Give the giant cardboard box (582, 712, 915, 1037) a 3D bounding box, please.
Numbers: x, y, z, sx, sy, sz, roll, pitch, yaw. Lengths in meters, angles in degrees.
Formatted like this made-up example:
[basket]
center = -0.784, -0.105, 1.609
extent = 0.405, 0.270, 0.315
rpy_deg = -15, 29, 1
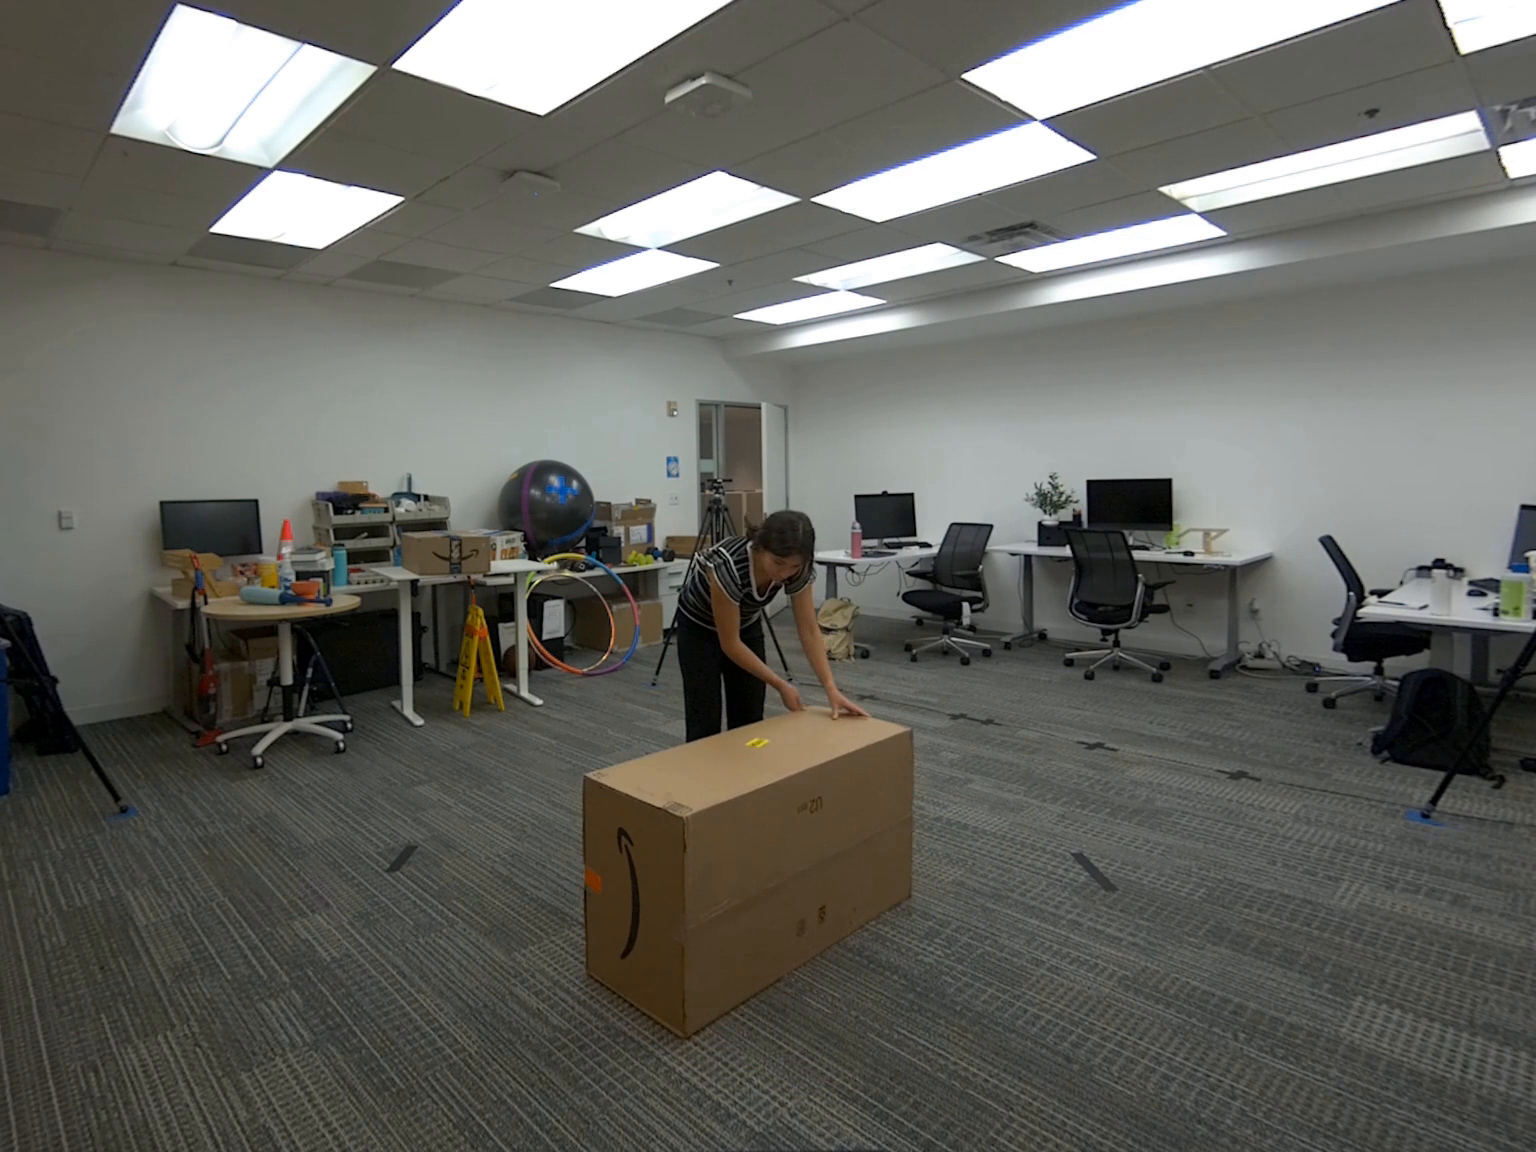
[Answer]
[giant cardboard box]
center = -0.025, 0.812, 2.616
extent = 0.439, 0.575, 0.999
rpy_deg = 4, 7, 44
